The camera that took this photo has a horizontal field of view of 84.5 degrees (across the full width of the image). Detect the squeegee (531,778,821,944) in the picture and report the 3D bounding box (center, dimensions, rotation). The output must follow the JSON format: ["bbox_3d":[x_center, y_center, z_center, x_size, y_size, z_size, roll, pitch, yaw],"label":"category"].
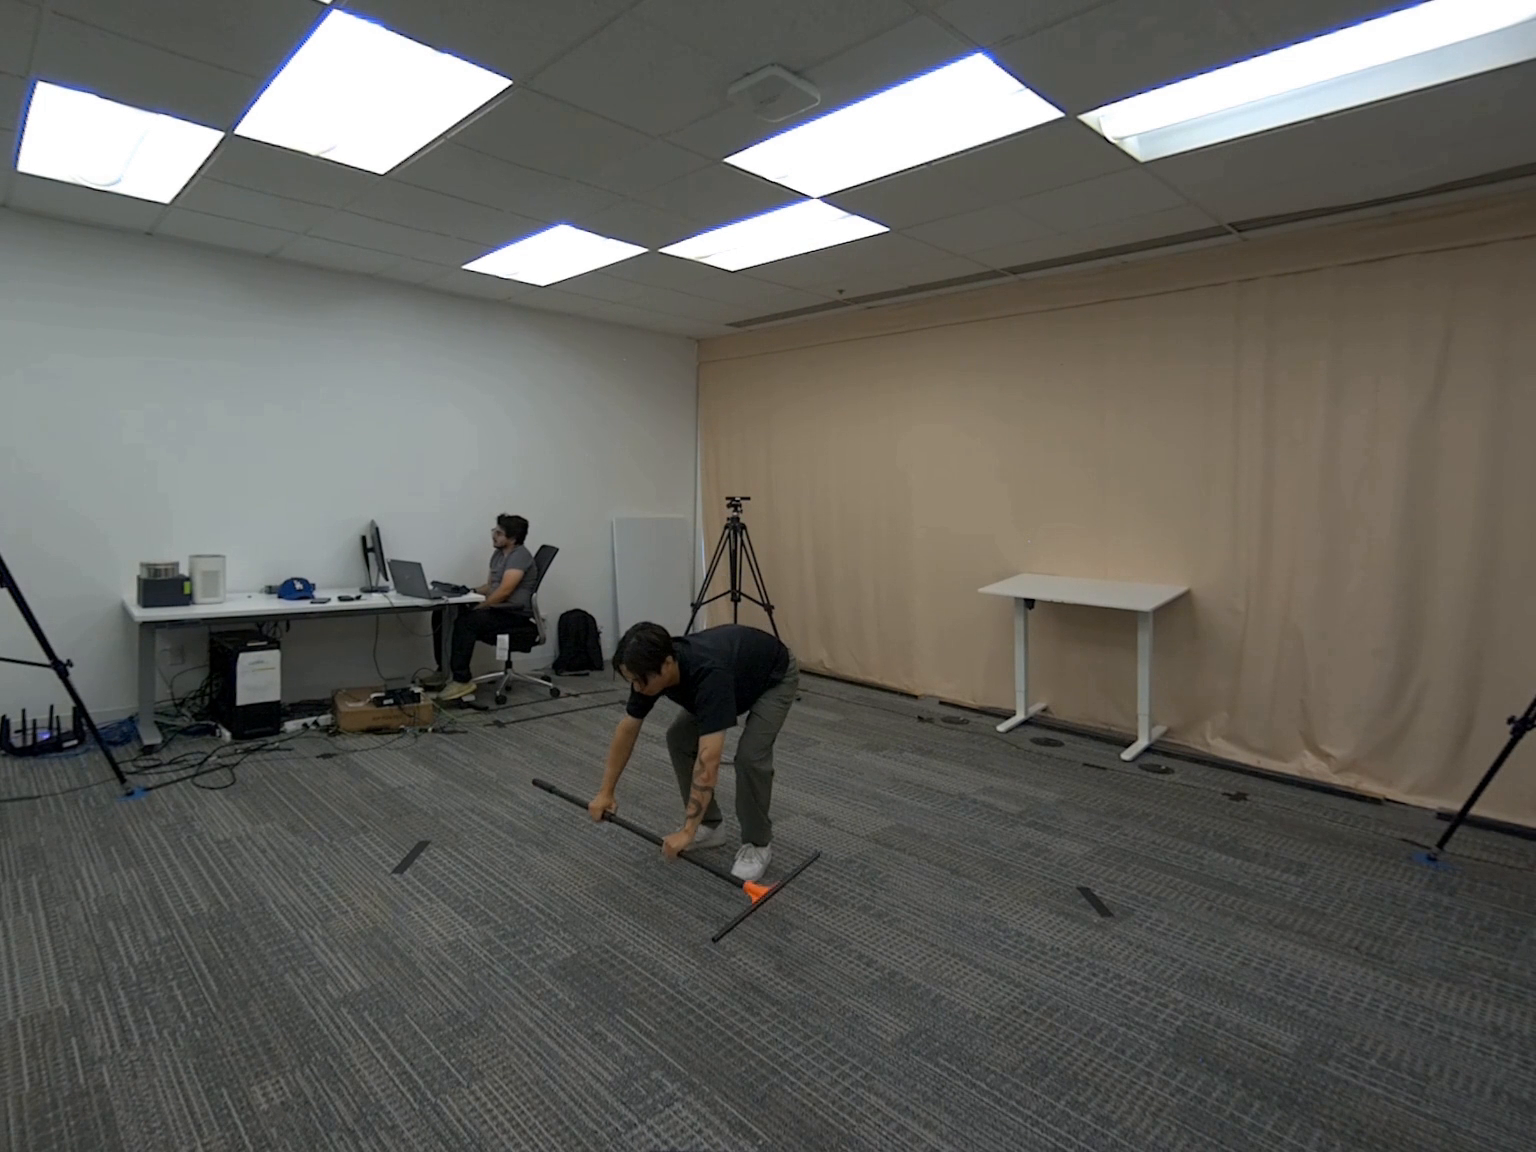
[{"bbox_3d":[-0.500,0.909,3.013,0.433,0.052,1.574,-28,19,-37],"label":"squeegee"}]
